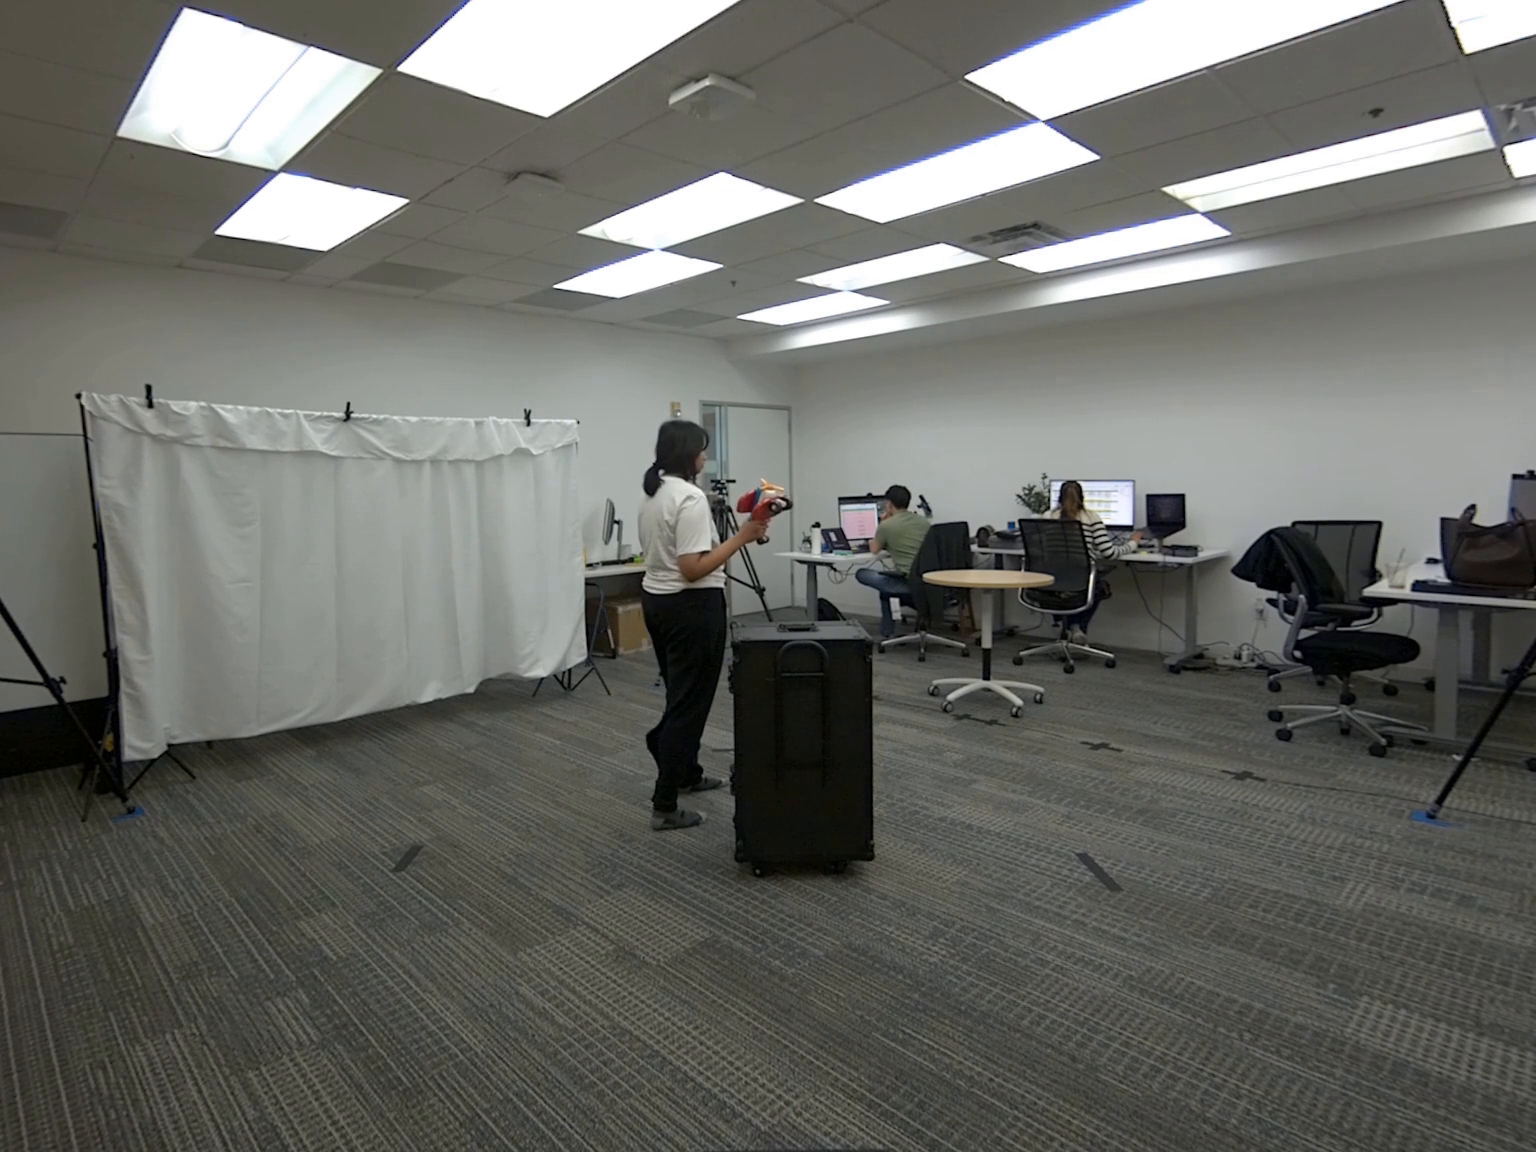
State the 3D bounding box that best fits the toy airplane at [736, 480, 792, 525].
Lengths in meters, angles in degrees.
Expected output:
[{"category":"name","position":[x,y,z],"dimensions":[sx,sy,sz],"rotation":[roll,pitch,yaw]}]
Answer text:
[{"category":"toy airplane","position":[-0.032,-0.251,3.483],"dimensions":[0.160,0.259,0.245],"rotation":[41,5,19]}]
